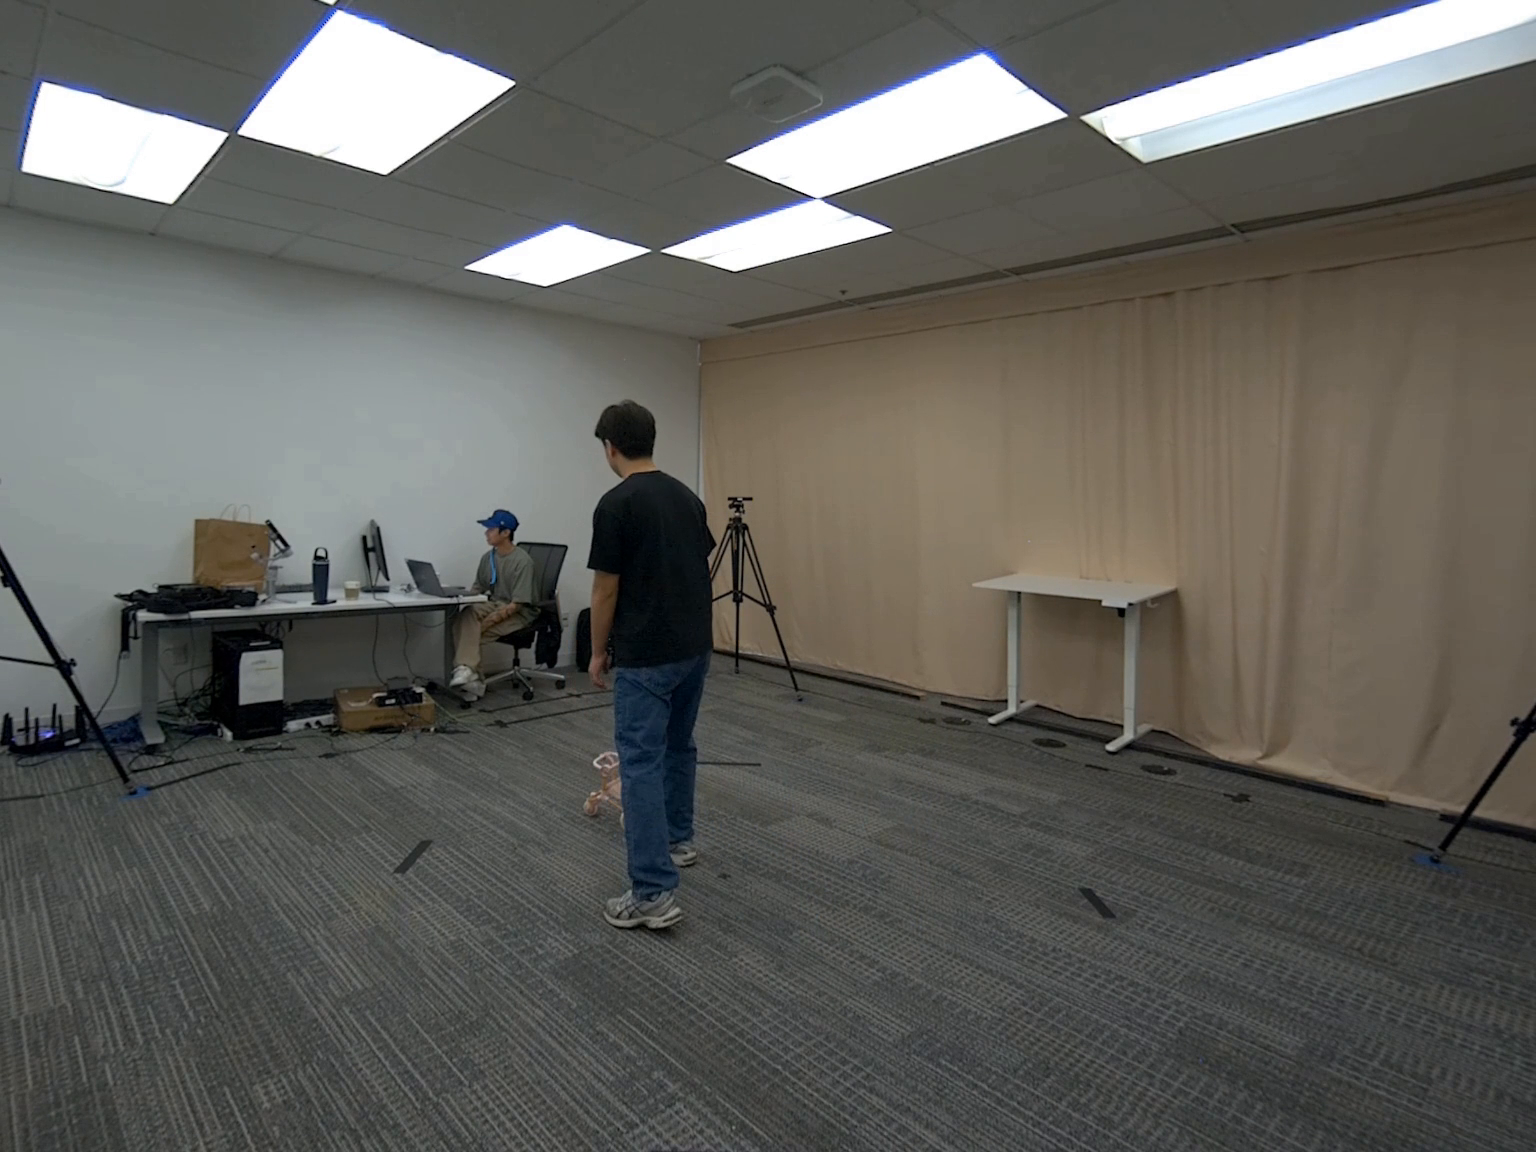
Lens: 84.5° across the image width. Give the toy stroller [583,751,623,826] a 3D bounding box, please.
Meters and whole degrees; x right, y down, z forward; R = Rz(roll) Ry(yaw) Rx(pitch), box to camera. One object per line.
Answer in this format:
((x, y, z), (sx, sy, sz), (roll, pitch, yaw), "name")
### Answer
((-0.589, 0.835, 3.600), (0.348, 0.533, 0.277), (20, 9, 18), "toy stroller")
